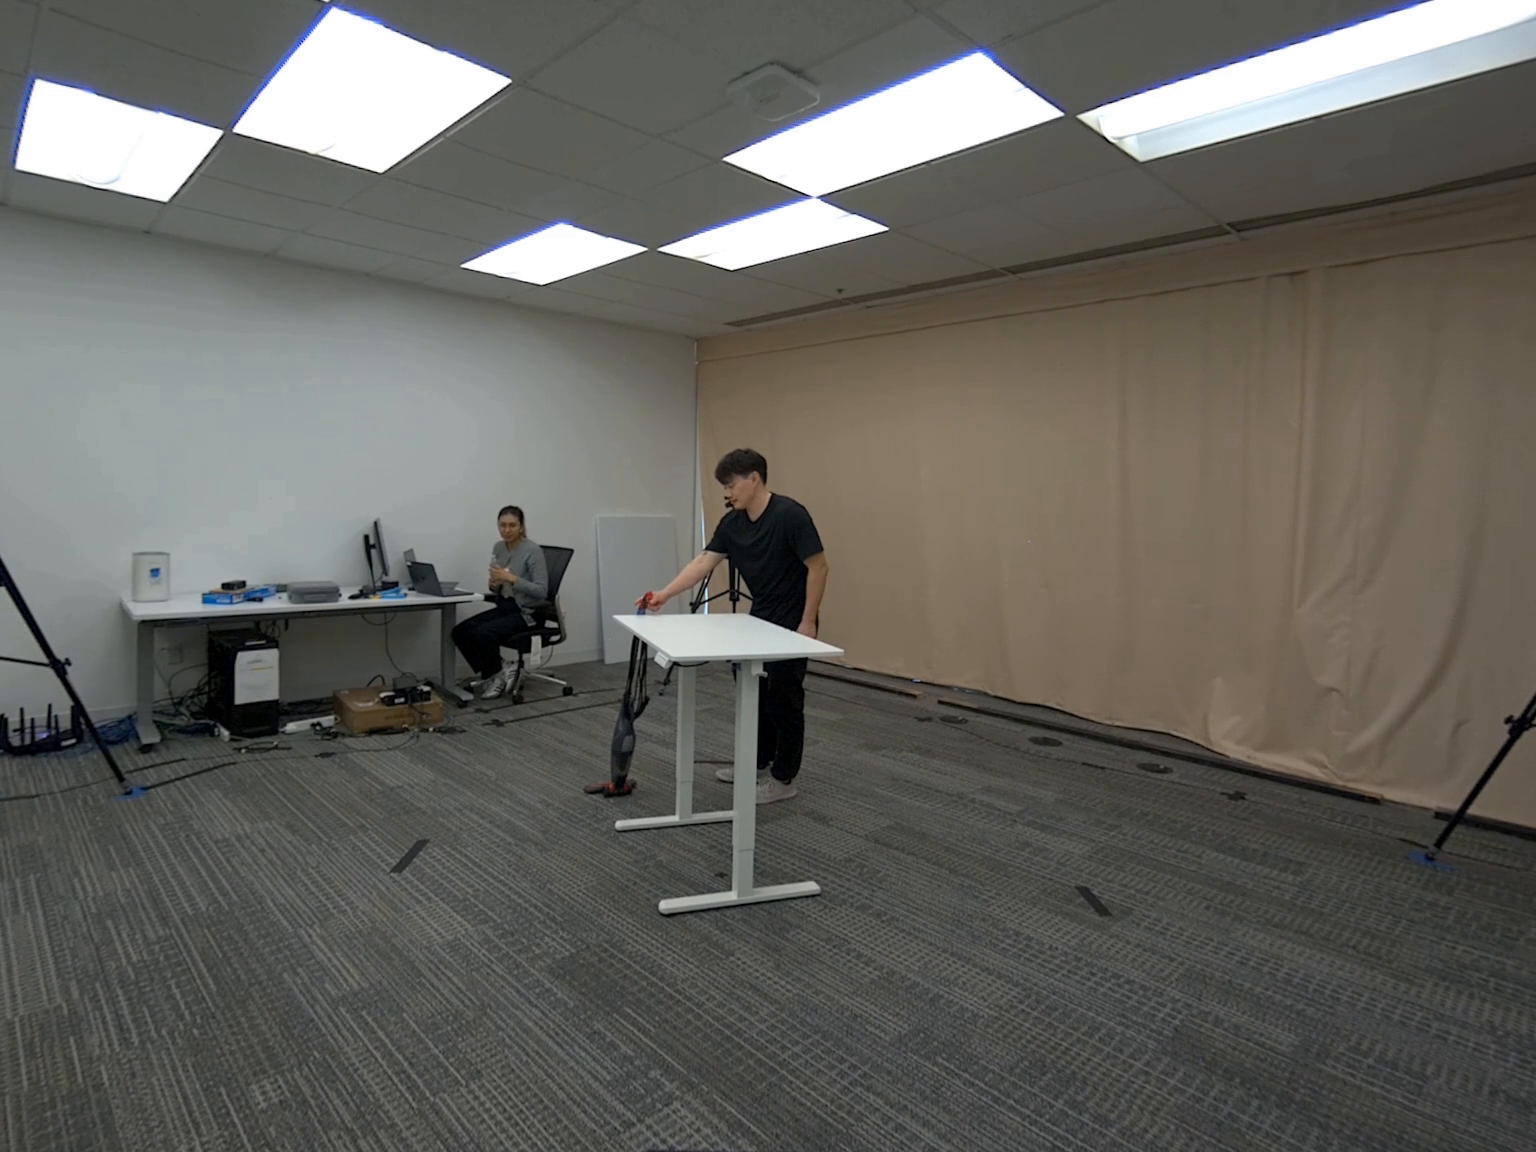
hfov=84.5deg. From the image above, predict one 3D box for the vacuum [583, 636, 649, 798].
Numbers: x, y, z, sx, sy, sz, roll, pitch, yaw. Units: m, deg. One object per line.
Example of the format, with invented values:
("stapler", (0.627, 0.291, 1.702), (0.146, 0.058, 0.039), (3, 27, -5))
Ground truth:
("vacuum", (-0.627, 0.549, 3.768), (0.247, 1.037, 0.148), (-2, 26, -33))
